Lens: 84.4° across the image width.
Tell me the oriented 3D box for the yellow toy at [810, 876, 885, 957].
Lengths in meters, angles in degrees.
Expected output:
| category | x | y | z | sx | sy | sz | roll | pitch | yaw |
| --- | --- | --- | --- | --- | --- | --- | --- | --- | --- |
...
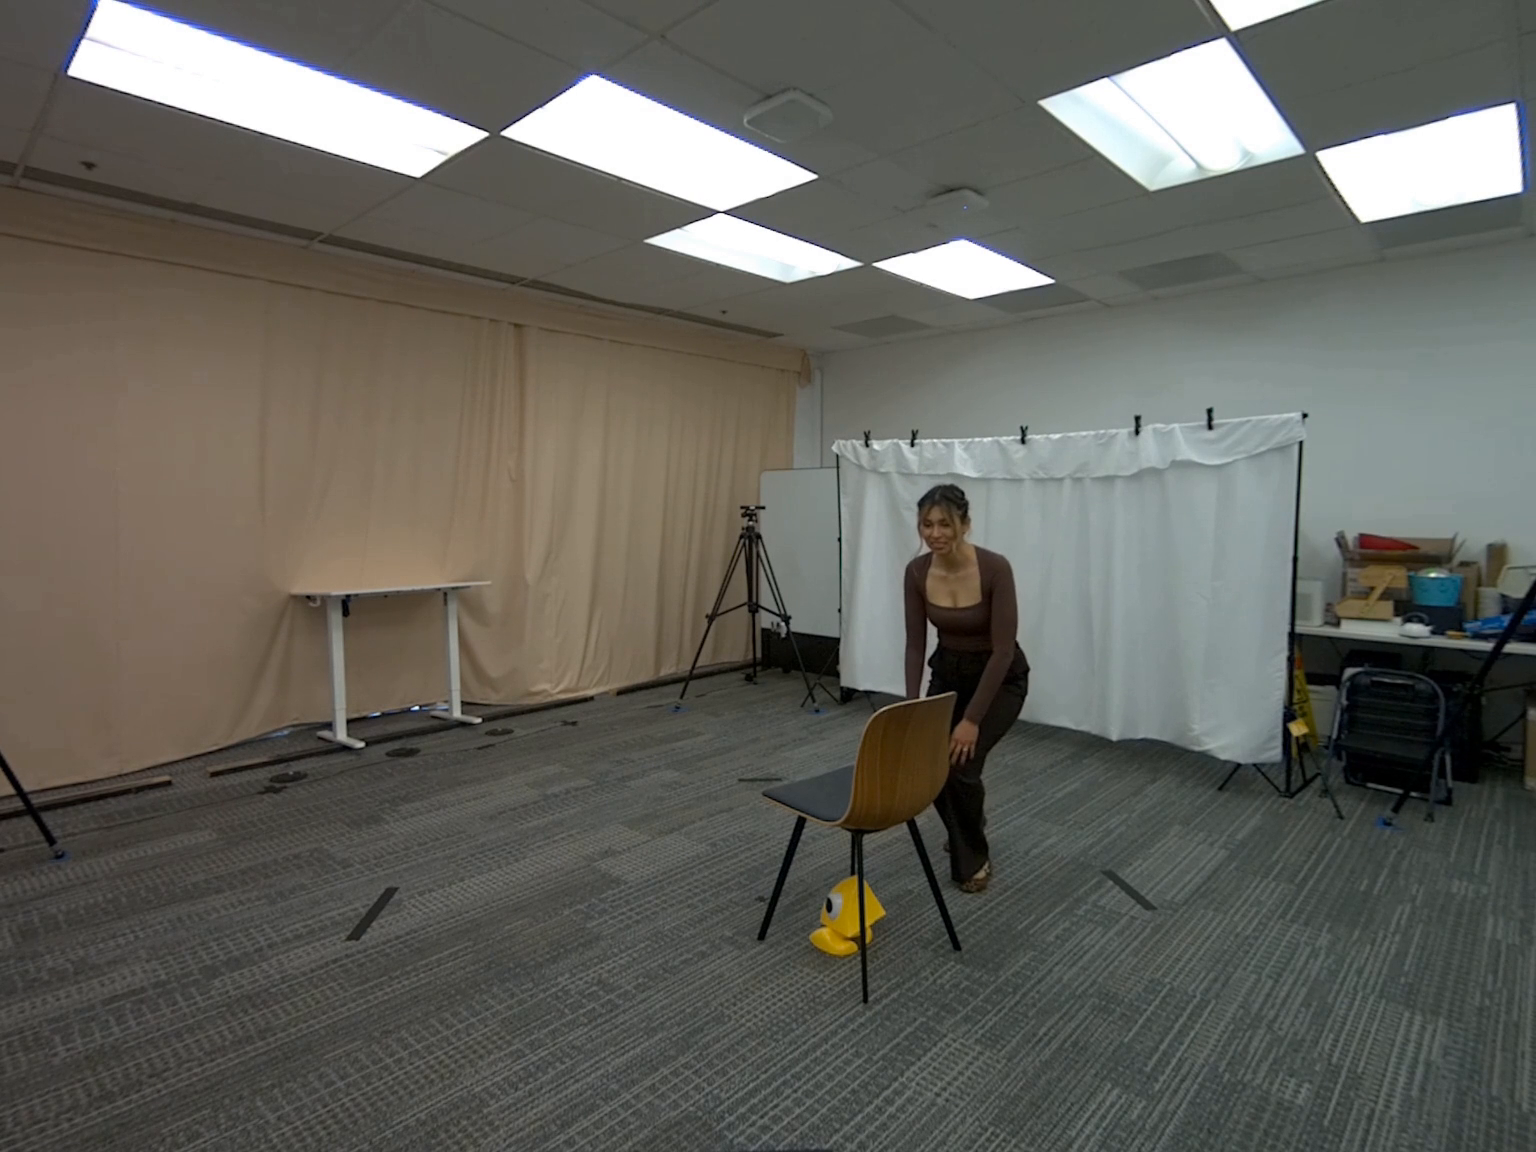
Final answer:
| category | x | y | z | sx | sy | sz | roll | pitch | yaw |
| --- | --- | --- | --- | --- | --- | --- | --- | --- | --- |
| yellow toy | 0.250 | 1.057 | 2.691 | 0.199 | 0.230 | 0.198 | 4 | 5 | 43 |
